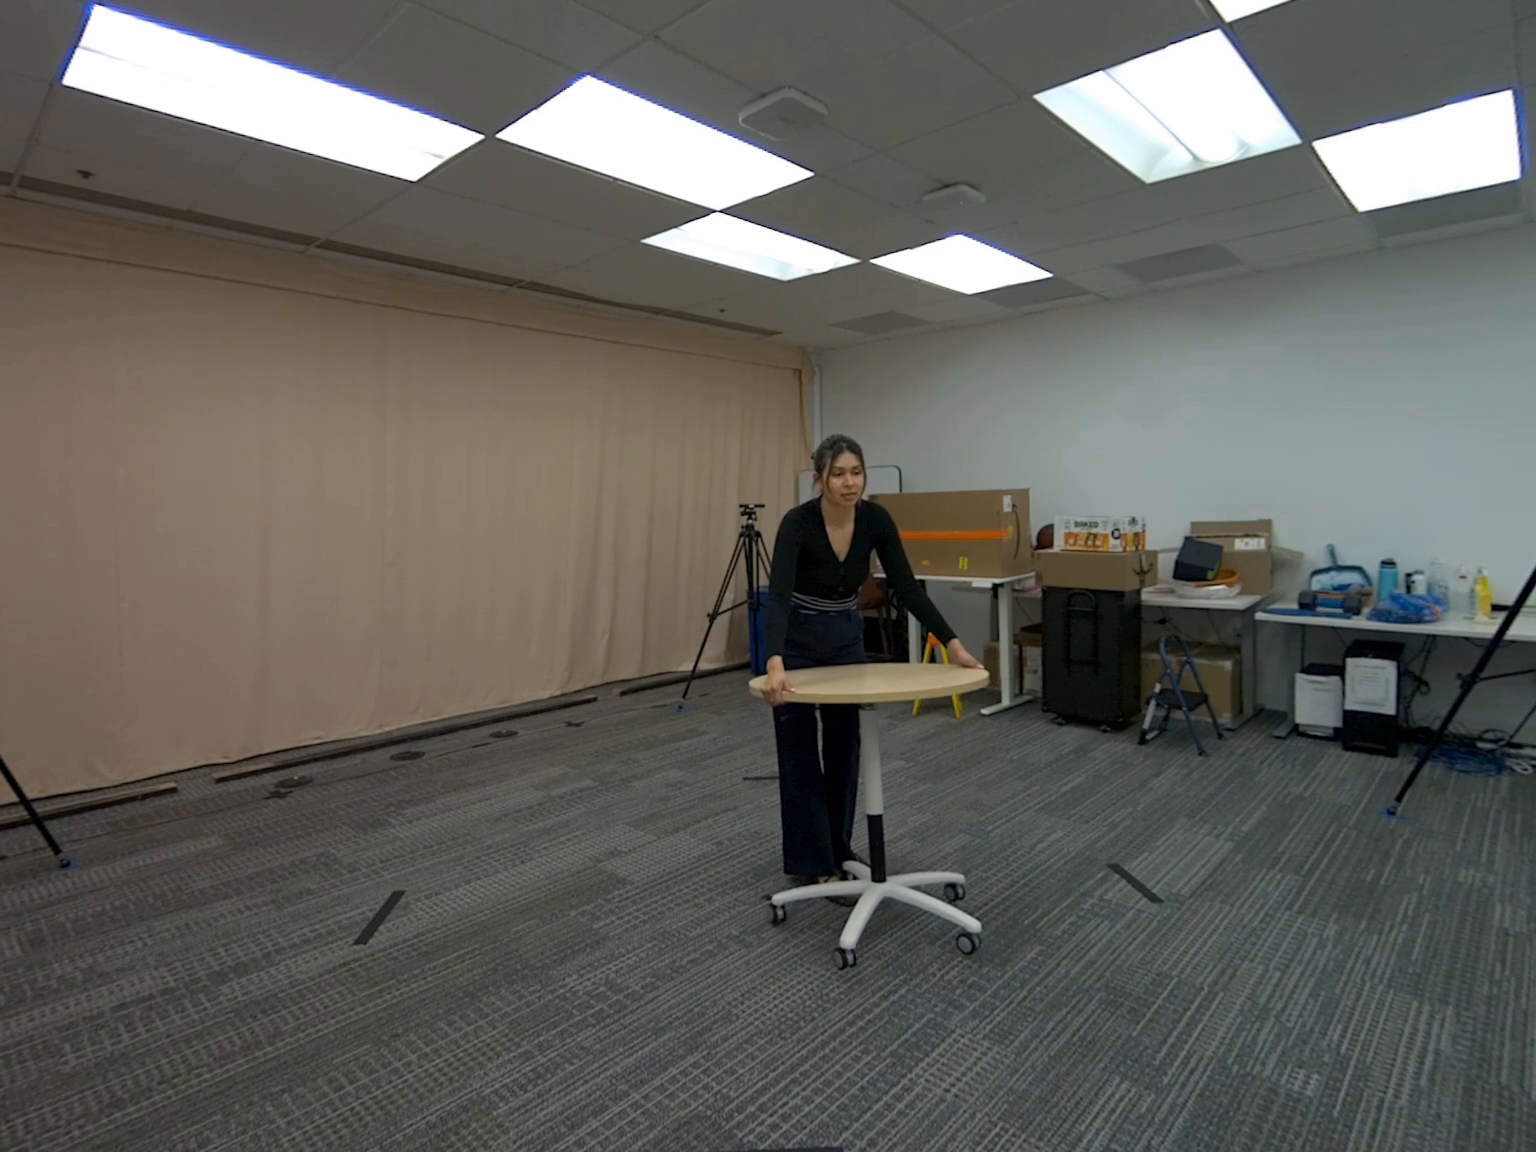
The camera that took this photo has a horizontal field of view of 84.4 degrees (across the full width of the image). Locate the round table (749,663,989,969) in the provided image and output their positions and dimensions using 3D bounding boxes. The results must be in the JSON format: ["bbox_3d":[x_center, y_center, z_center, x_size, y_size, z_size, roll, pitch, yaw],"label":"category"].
[{"bbox_3d":[0.352,0.728,2.724,0.763,0.795,0.764,-3,-1,-2],"label":"round table"}]
